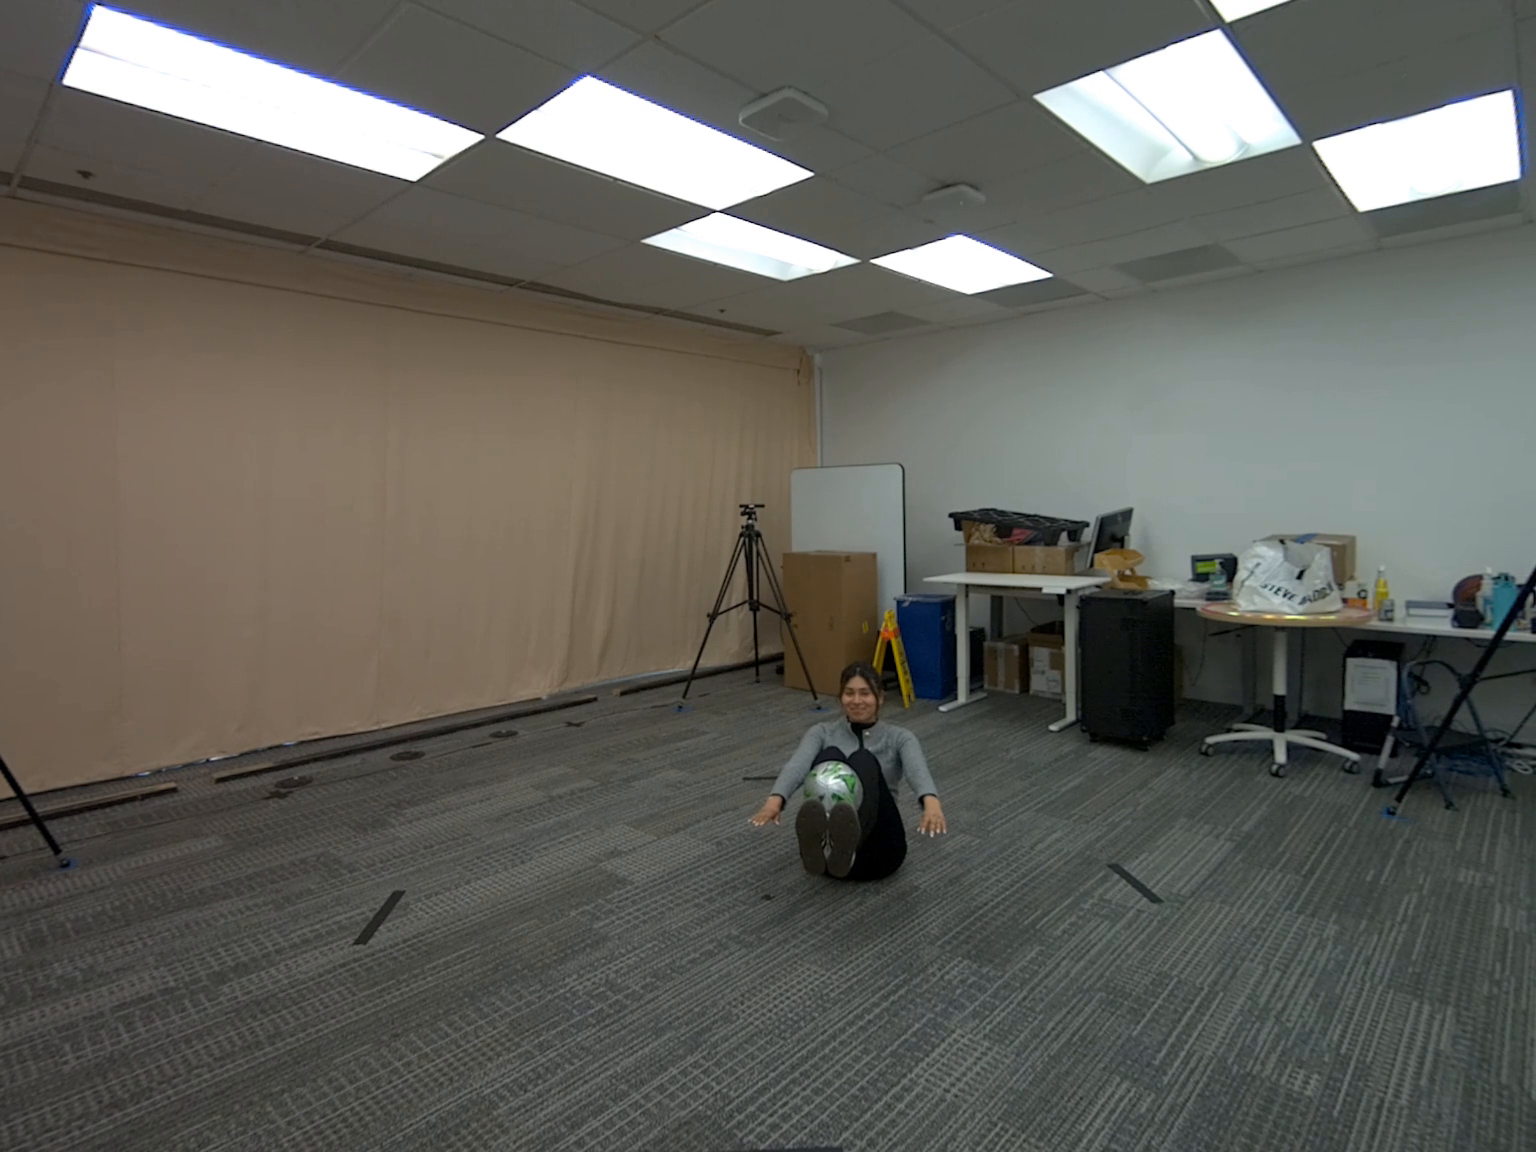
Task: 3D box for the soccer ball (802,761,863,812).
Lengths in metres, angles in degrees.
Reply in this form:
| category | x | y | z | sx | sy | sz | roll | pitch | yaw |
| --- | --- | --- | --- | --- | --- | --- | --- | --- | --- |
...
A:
| category | x | y | z | sx | sy | sz | roll | pitch | yaw |
| --- | --- | --- | --- | --- | --- | --- | --- | --- | --- |
| soccer ball | 0.211 | 0.685 | 2.657 | 0.187 | 0.187 | 0.188 | -1 | 4 | -2 |
